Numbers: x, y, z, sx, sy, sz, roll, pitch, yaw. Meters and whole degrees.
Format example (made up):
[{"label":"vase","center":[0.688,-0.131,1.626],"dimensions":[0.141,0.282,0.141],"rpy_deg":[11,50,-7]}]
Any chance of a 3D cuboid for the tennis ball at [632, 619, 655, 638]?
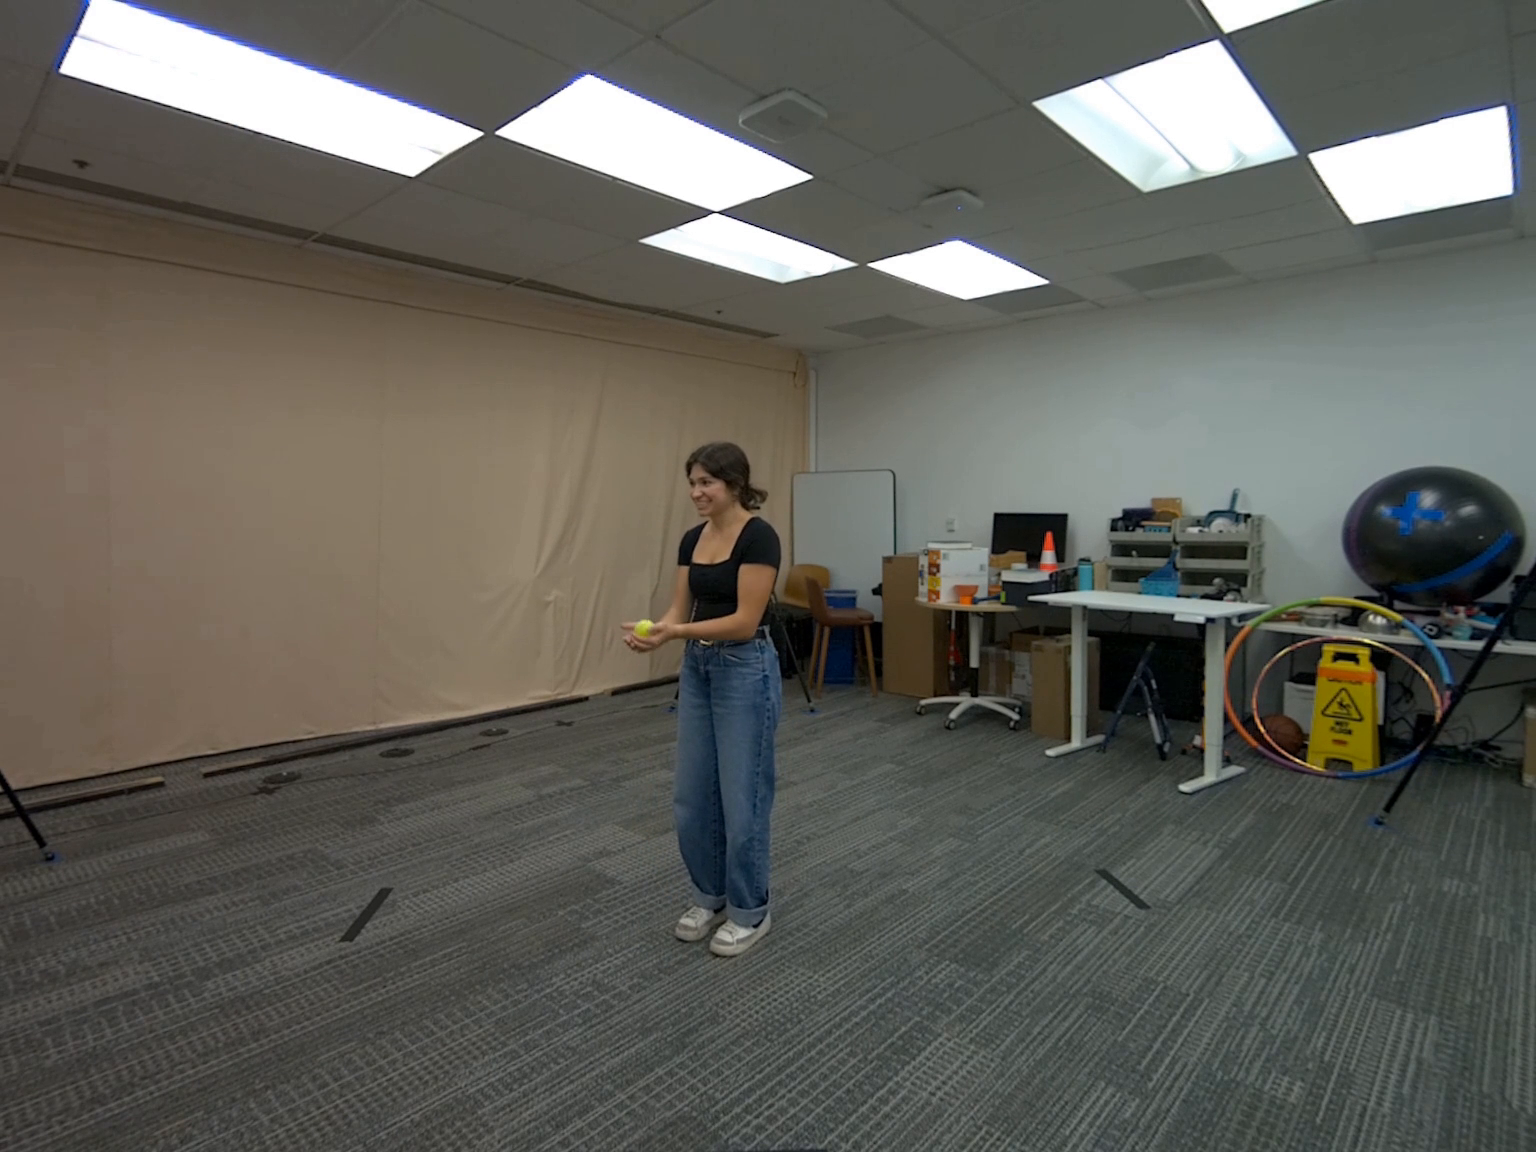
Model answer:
[{"label":"tennis ball","center":[-0.357,0.131,2.504],"dimensions":[0.066,0.066,0.067],"rpy_deg":[0,4,-2]}]
